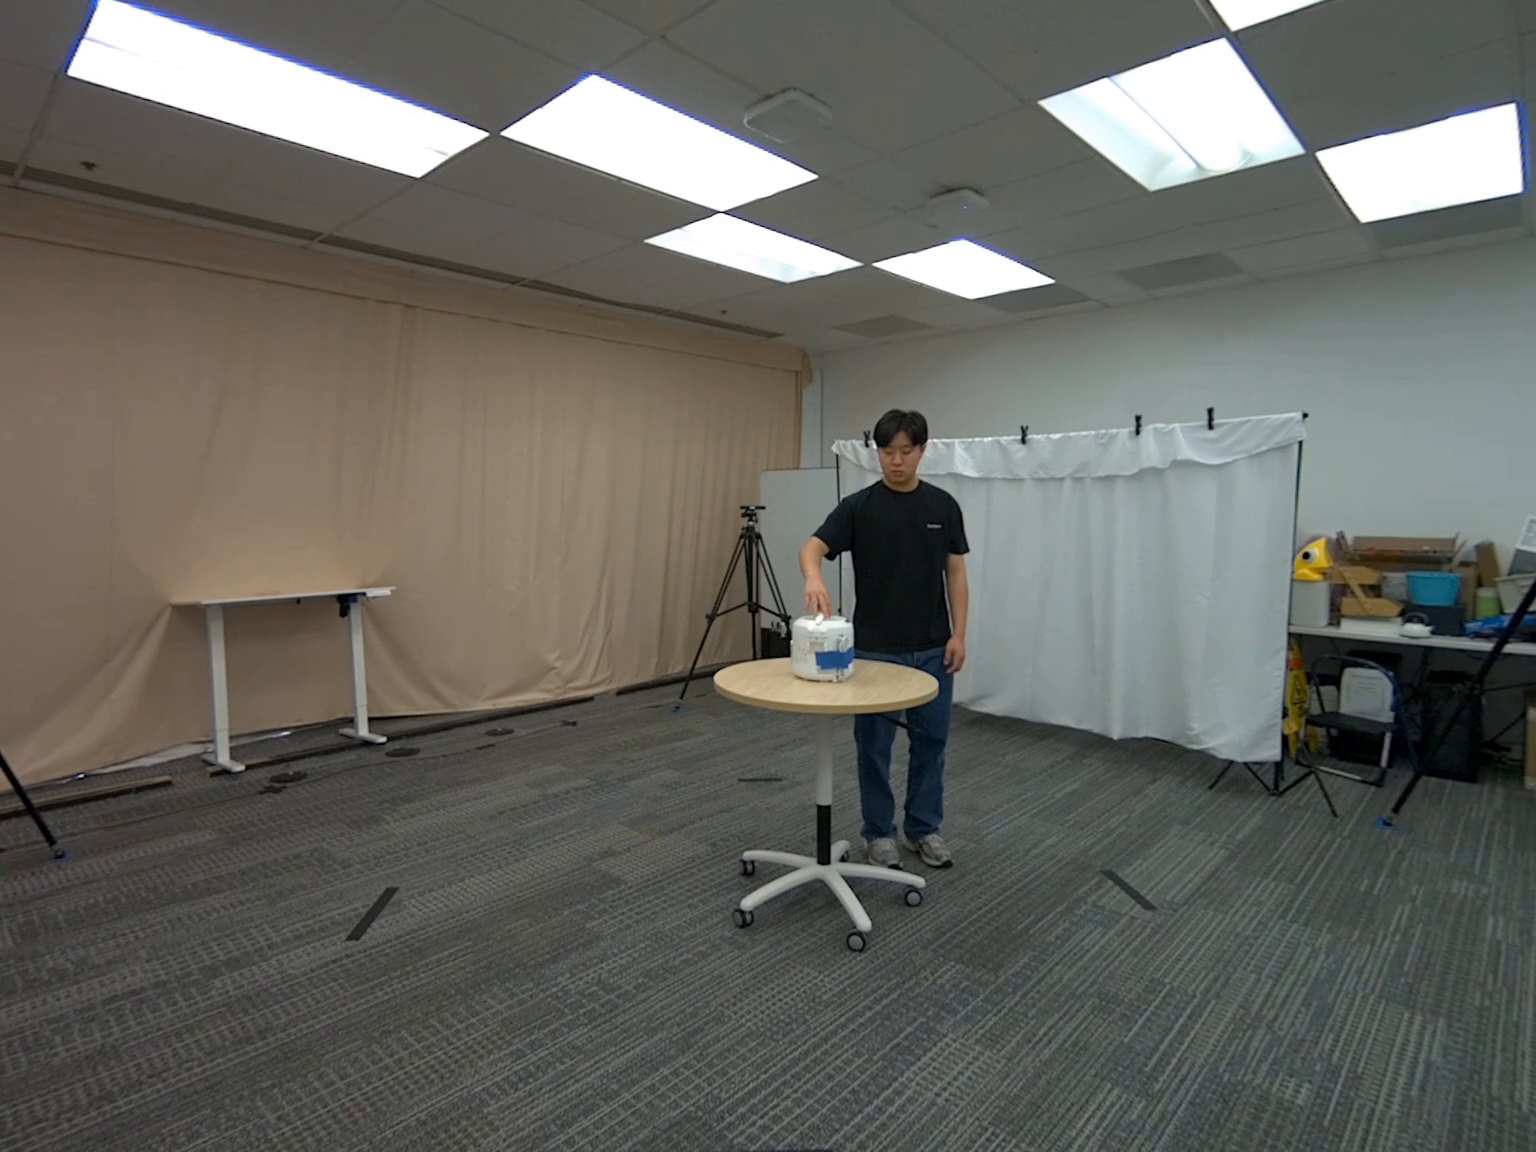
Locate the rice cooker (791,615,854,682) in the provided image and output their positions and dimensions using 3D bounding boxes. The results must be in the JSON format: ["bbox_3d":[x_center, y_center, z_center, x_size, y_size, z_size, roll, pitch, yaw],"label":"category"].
[{"bbox_3d":[0.191,0.236,2.923,0.221,0.232,0.217,2,4,16],"label":"rice cooker"}]
